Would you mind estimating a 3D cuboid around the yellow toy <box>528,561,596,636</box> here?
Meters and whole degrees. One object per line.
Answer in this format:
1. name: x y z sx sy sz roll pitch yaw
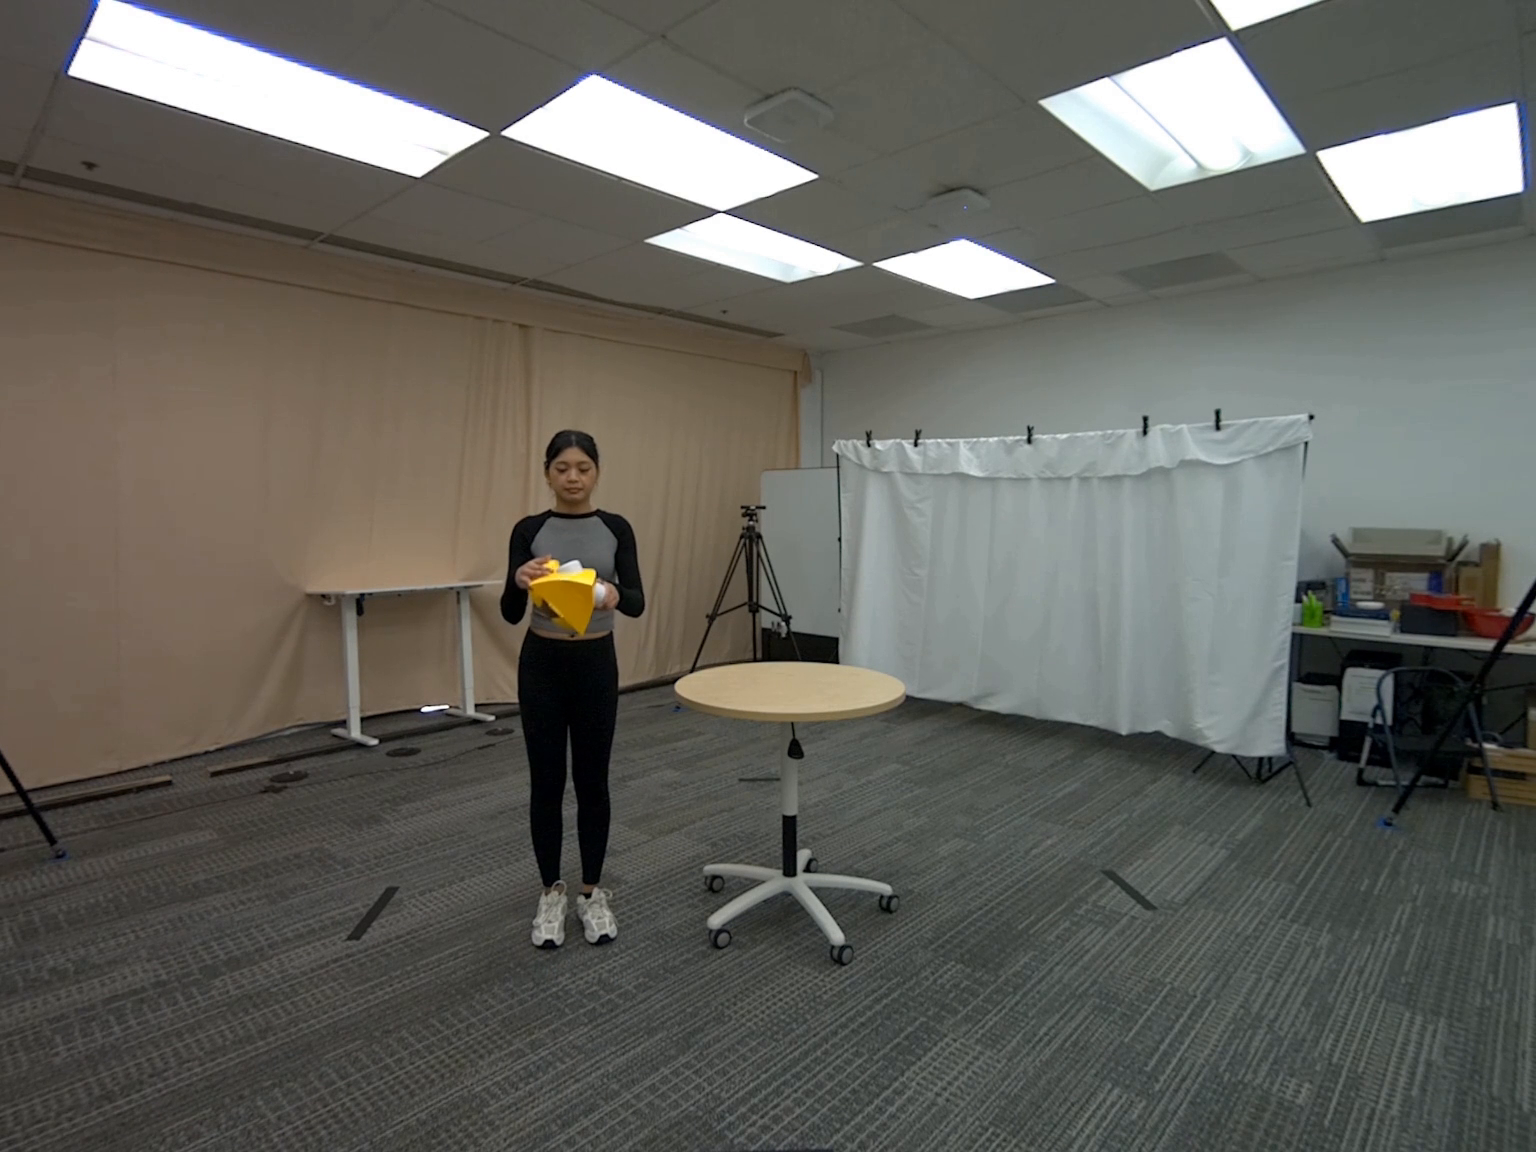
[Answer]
1. yellow toy: -0.531 0.025 2.325 0.235 0.201 0.193 -28 23 42
